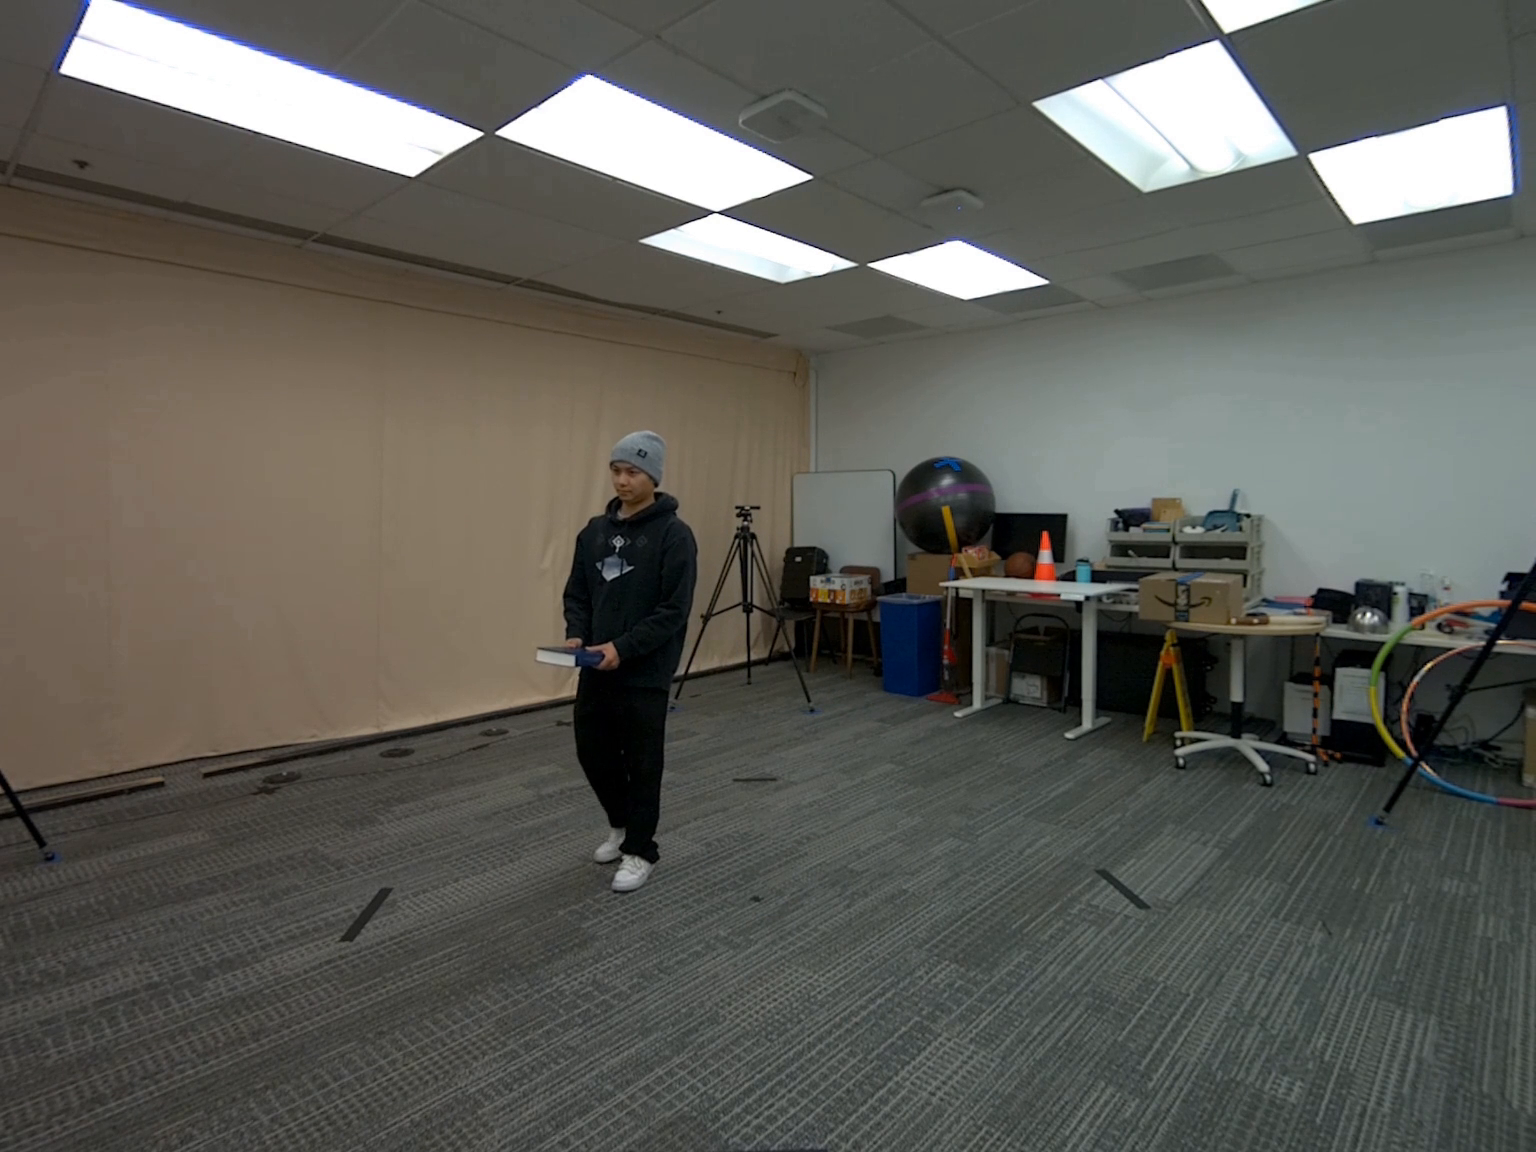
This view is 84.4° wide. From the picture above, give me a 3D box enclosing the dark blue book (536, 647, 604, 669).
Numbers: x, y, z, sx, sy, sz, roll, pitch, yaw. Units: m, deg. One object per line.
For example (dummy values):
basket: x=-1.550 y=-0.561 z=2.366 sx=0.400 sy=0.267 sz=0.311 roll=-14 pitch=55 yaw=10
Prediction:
dark blue book: x=-0.668 y=0.273 z=2.874 sx=0.167 sy=0.045 sz=0.239 roll=7 pitch=1 yaw=21
